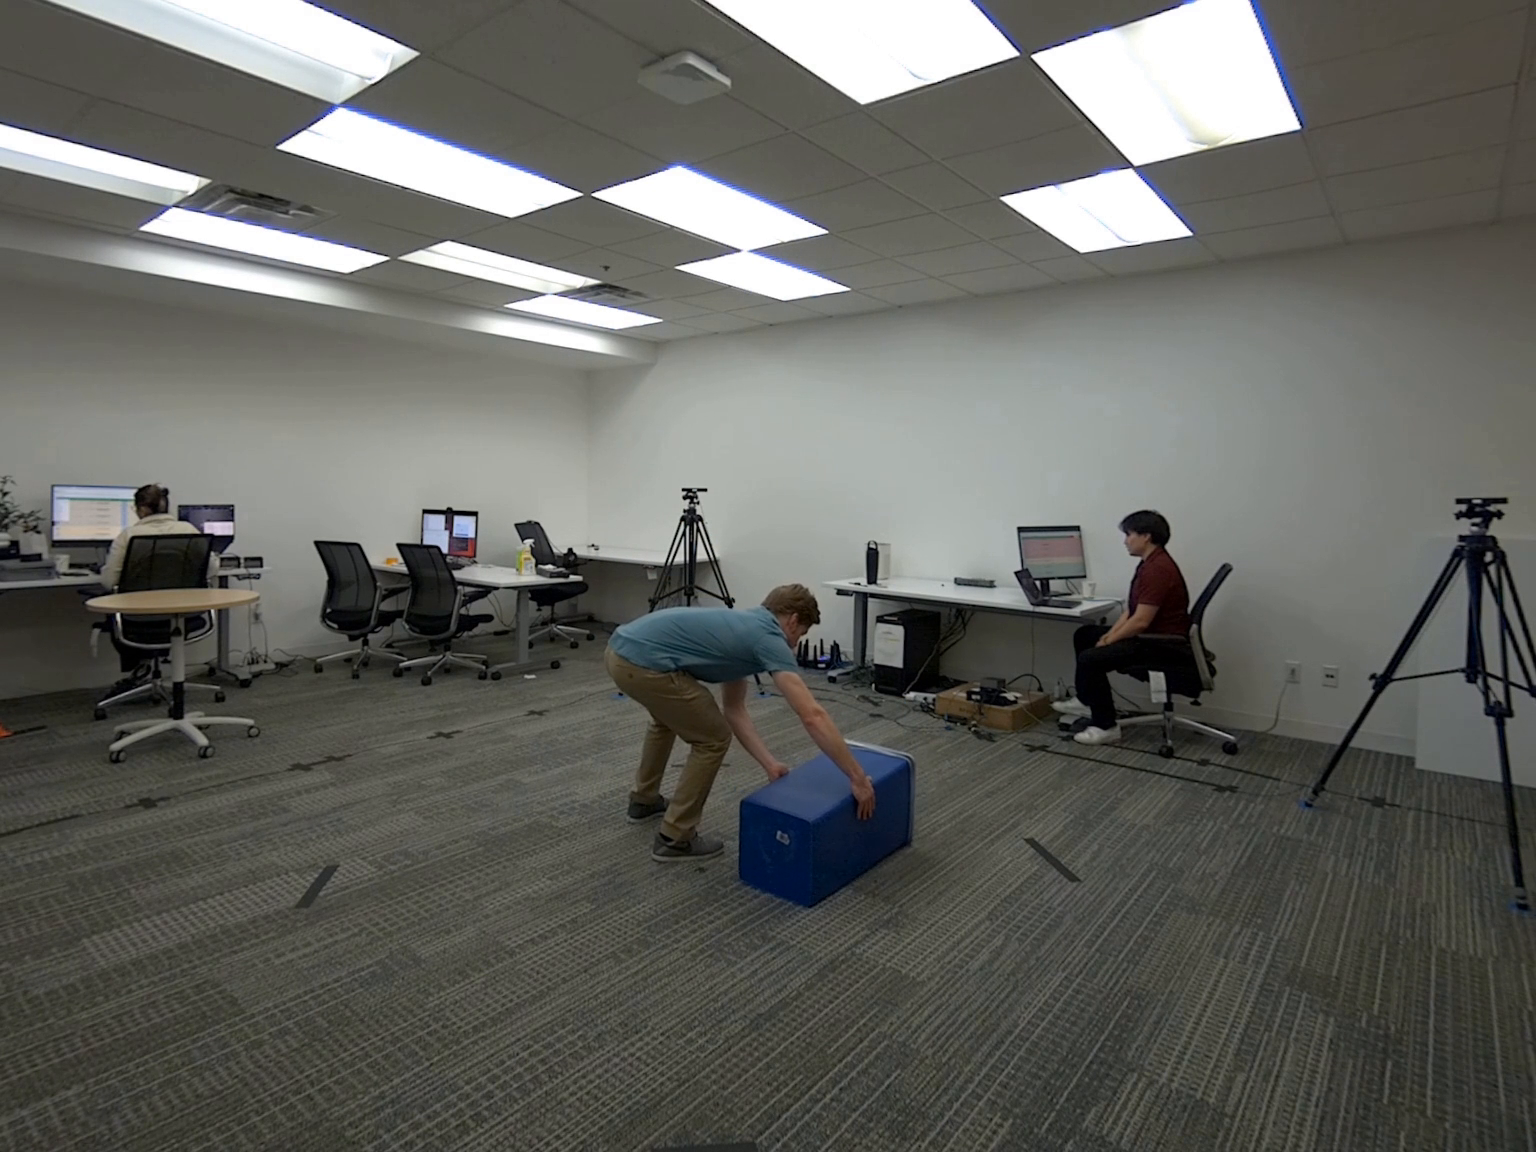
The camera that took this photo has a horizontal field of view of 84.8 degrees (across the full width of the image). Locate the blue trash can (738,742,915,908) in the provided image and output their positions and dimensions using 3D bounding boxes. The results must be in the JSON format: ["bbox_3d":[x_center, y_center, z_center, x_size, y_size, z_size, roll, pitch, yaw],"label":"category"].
[{"bbox_3d":[0.219,0.910,3.177,0.386,0.375,0.695,5,9,35],"label":"blue trash can"}]
